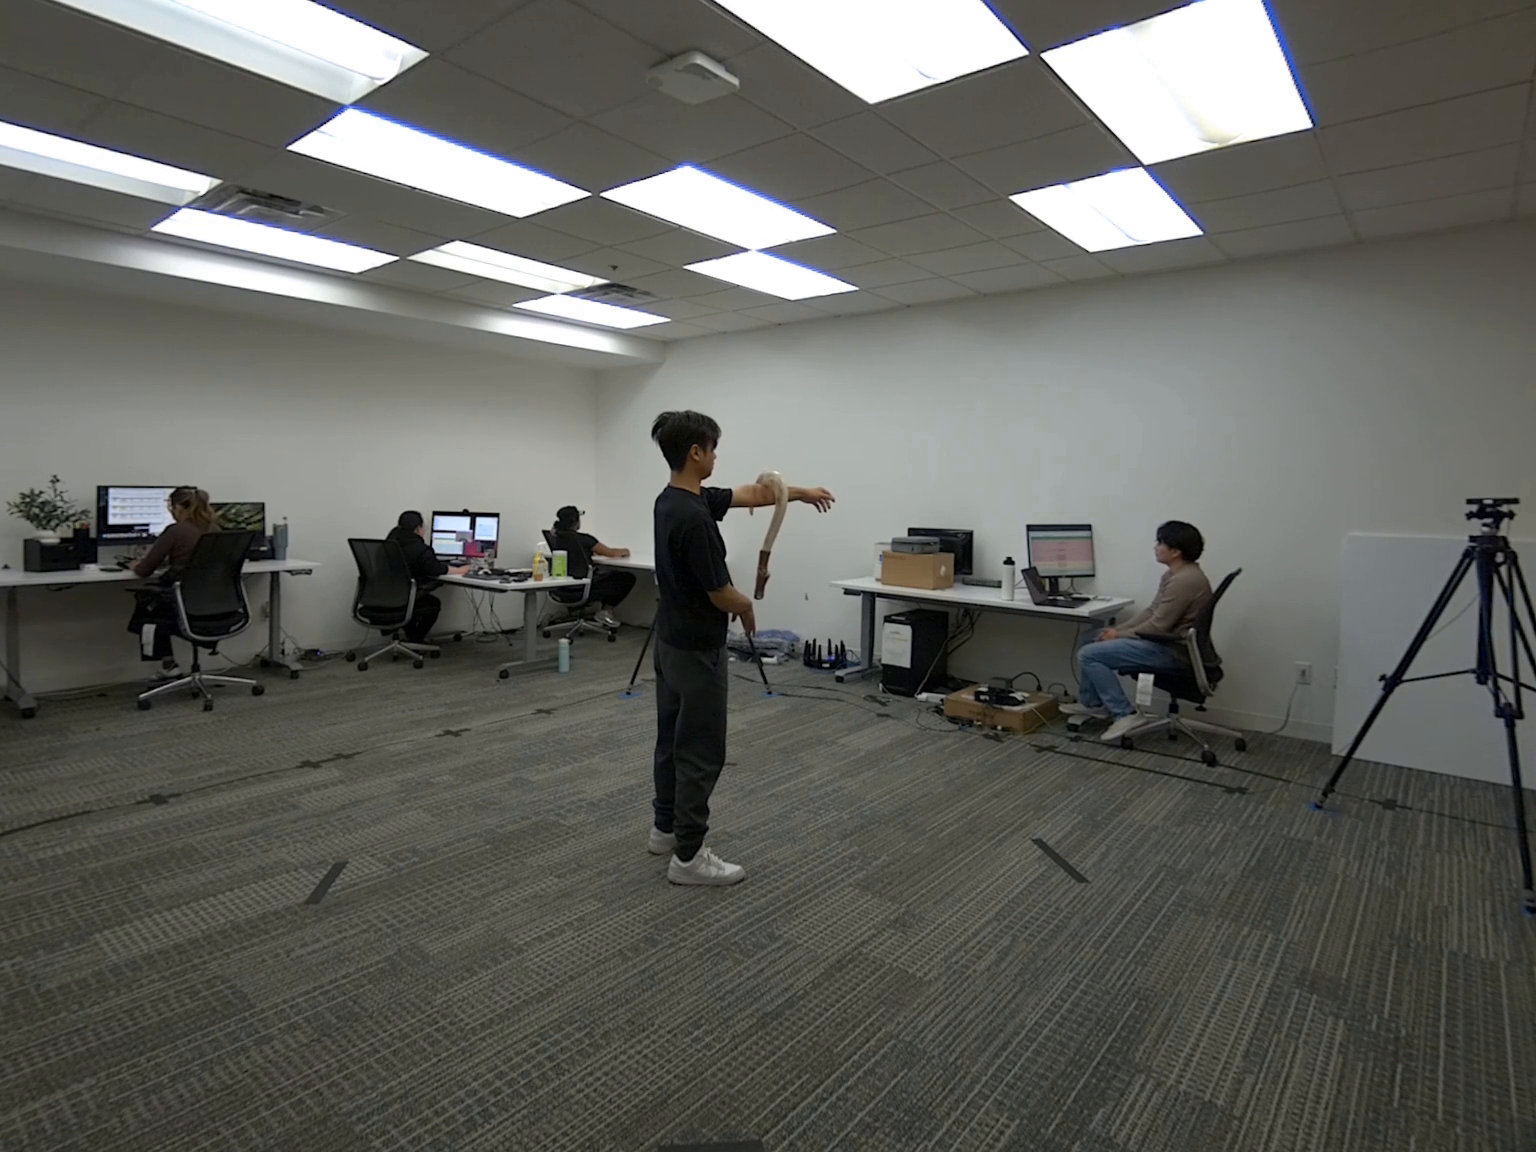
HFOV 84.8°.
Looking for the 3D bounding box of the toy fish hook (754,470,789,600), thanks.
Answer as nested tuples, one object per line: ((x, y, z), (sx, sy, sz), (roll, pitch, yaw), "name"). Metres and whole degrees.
((-0.036, -0.168, 3.362), (0.047, 0.503, 0.233), (5, 11, -35), "toy fish hook")
